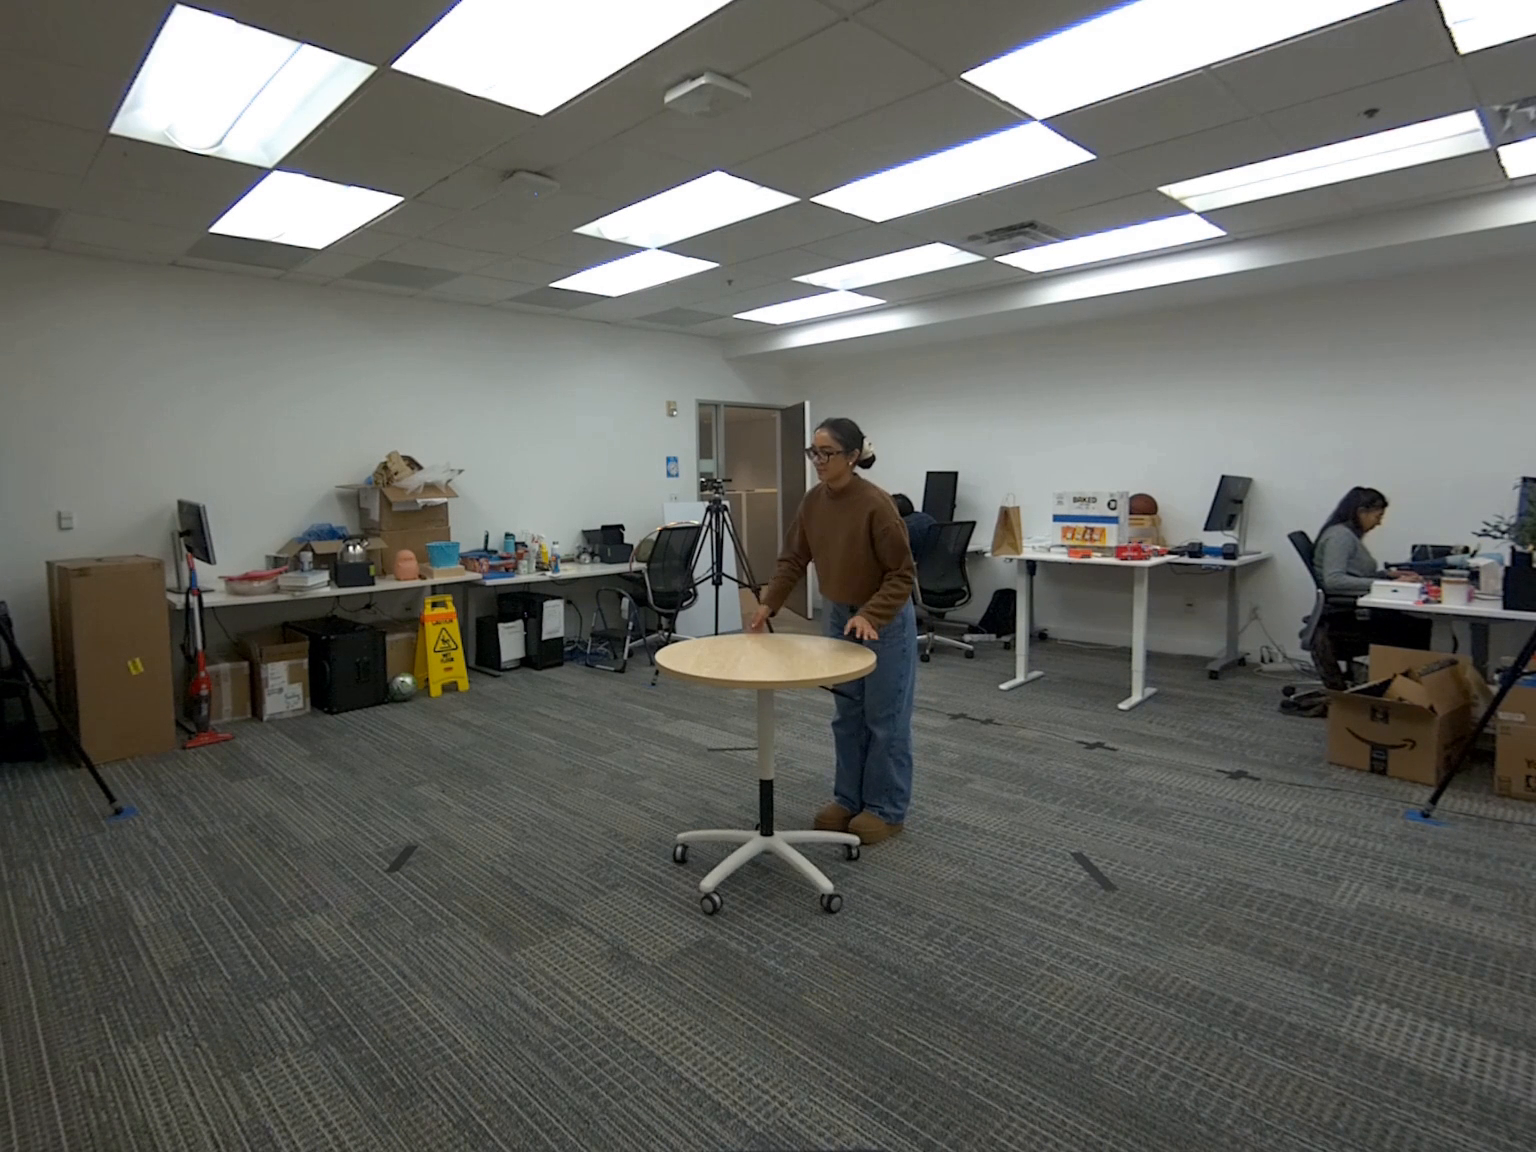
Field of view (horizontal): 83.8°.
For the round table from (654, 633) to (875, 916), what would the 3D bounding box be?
[{"bbox_3d":[-0.009,0.665,3.000,0.763,0.791,0.768,-1,5,-2],"label":"round table"}]
